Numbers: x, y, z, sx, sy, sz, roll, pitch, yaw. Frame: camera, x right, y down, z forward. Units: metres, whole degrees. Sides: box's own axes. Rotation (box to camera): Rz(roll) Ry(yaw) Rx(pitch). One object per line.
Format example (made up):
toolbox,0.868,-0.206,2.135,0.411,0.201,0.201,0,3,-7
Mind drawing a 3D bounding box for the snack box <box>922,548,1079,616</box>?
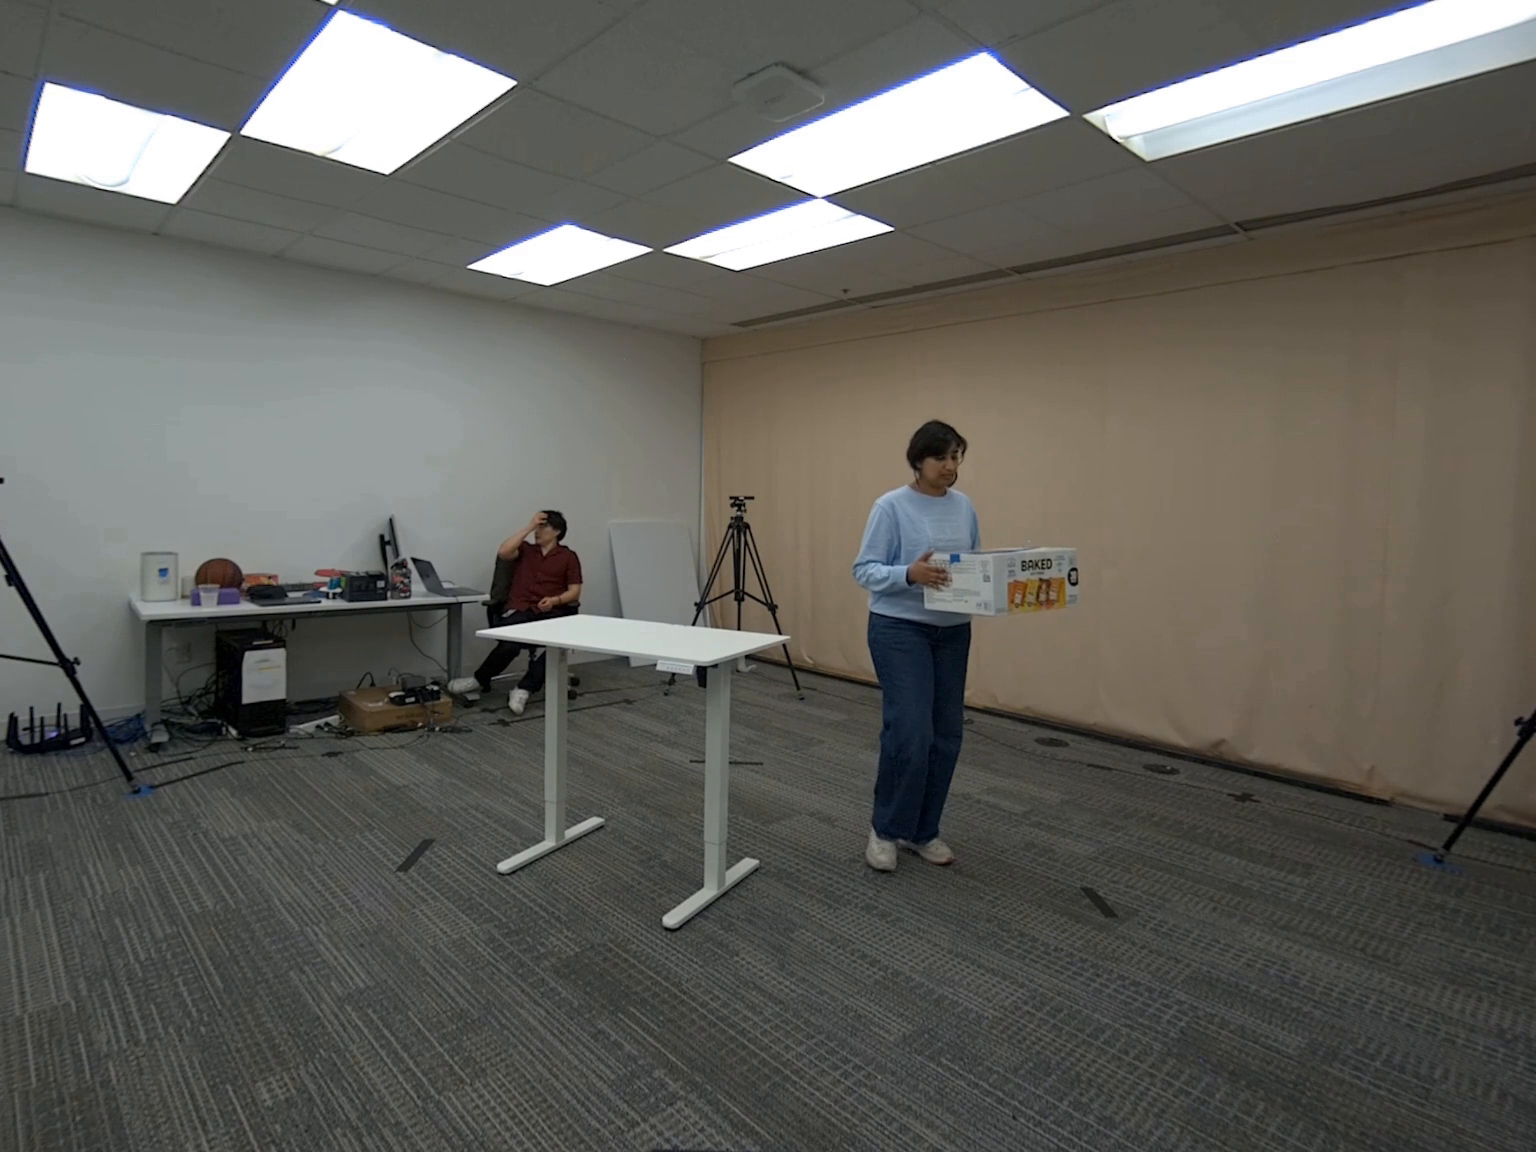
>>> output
snack box,0.803,0.015,2.960,0.397,0.205,0.347,-4,3,-29
